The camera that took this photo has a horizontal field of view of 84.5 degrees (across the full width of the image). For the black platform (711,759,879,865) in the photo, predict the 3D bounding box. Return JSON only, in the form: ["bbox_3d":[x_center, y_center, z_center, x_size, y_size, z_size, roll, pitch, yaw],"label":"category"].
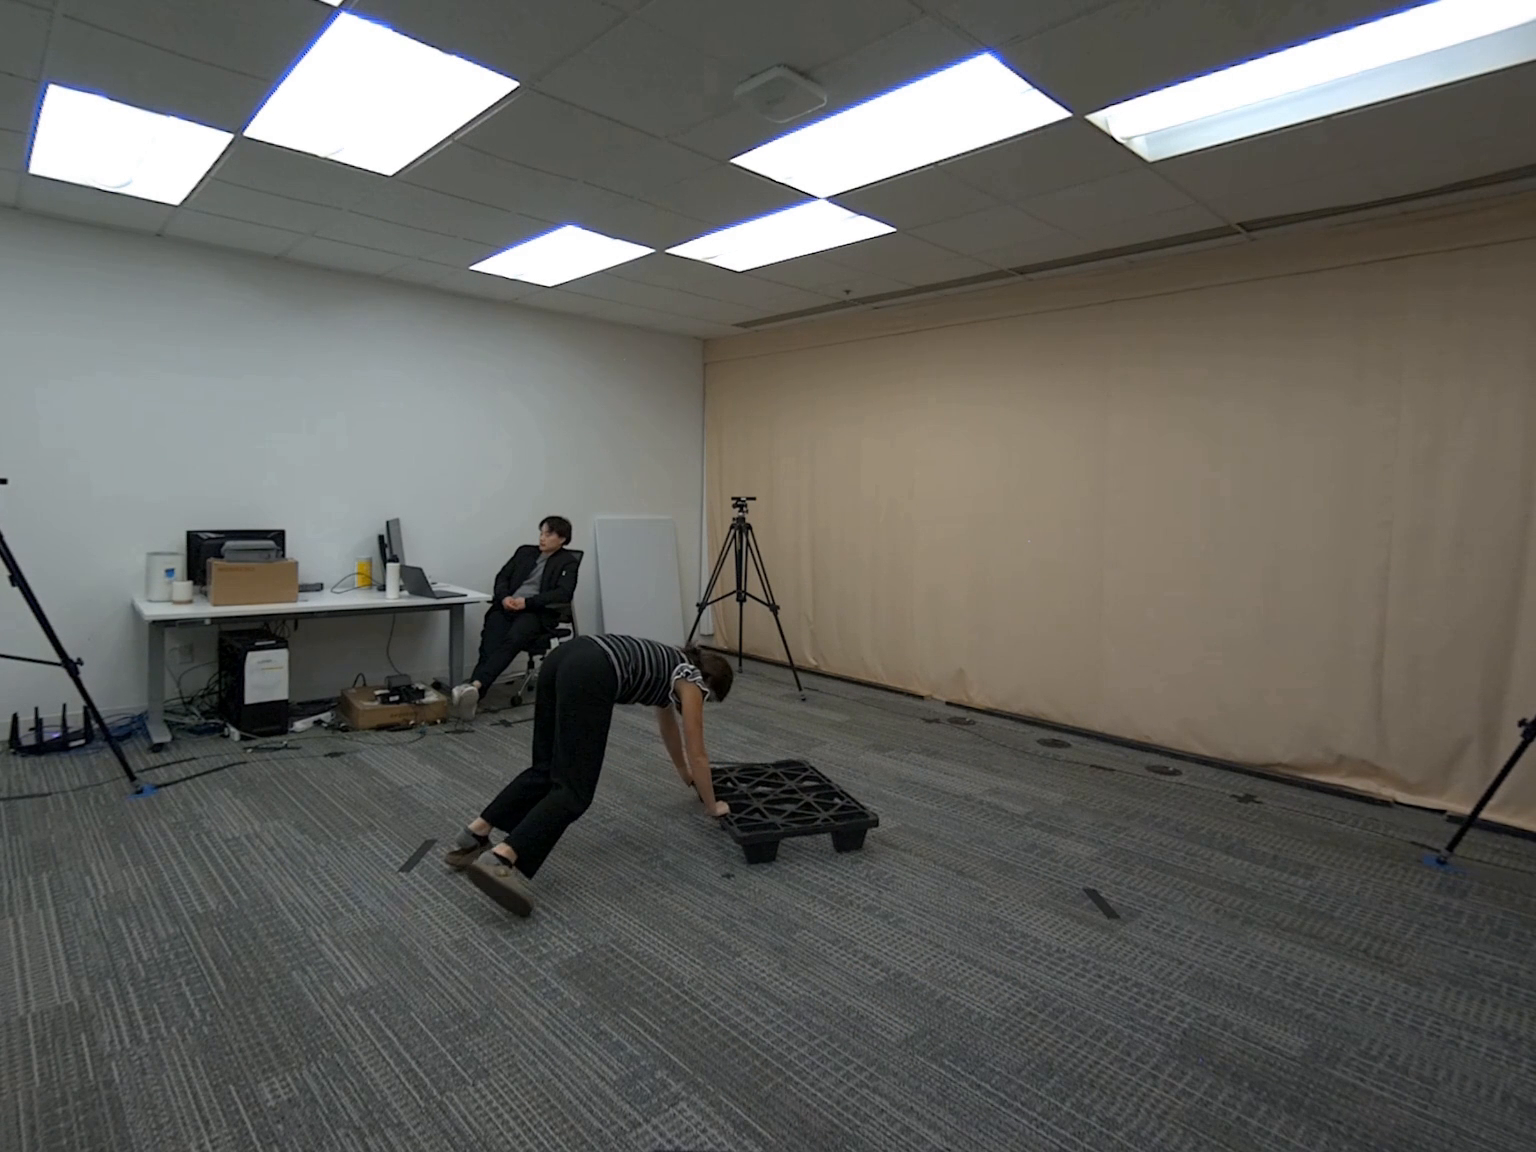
[{"bbox_3d":[0.019,0.995,3.620,0.596,0.143,0.819,-1,6,-19],"label":"black platform"}]
